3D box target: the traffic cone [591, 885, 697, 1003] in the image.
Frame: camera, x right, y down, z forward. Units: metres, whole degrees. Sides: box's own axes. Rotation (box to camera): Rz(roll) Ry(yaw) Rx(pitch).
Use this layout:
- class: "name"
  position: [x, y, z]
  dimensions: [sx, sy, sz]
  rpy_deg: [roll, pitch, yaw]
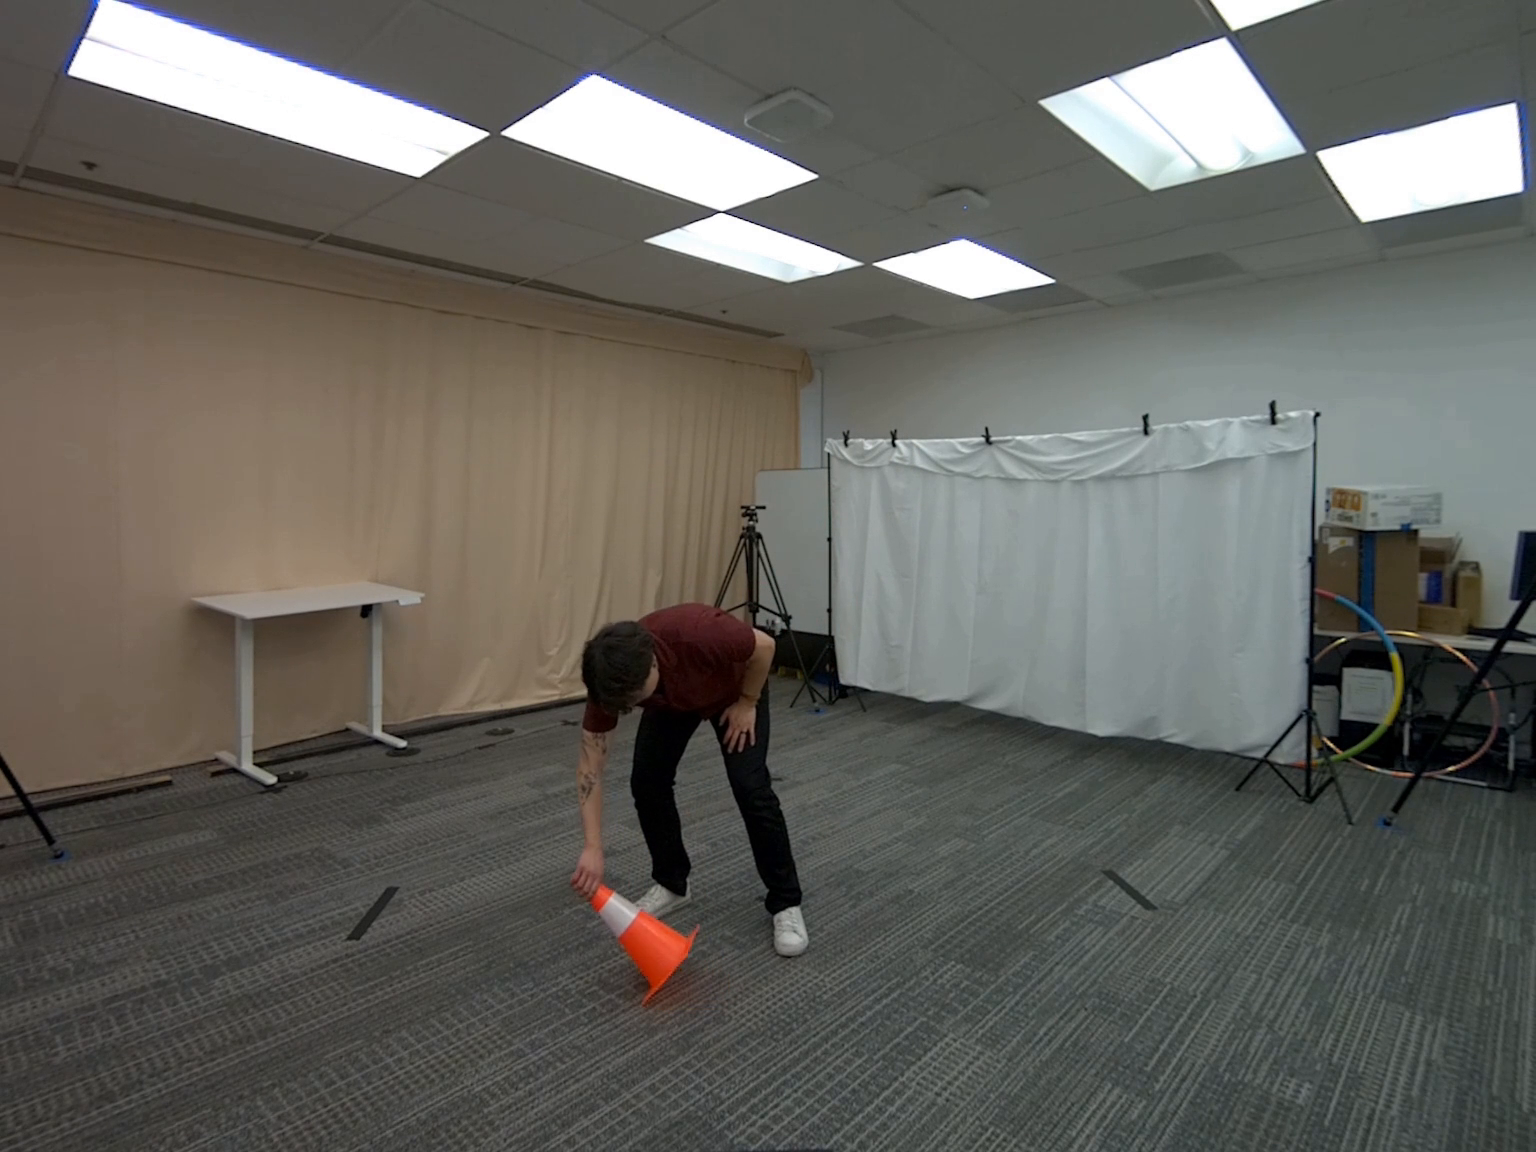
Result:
- class: "traffic cone"
  position: [-0.417, 0.994, 2.441]
  dimensions: [0.386, 0.204, 0.203]
  rpy_deg: [40, 11, 5]
